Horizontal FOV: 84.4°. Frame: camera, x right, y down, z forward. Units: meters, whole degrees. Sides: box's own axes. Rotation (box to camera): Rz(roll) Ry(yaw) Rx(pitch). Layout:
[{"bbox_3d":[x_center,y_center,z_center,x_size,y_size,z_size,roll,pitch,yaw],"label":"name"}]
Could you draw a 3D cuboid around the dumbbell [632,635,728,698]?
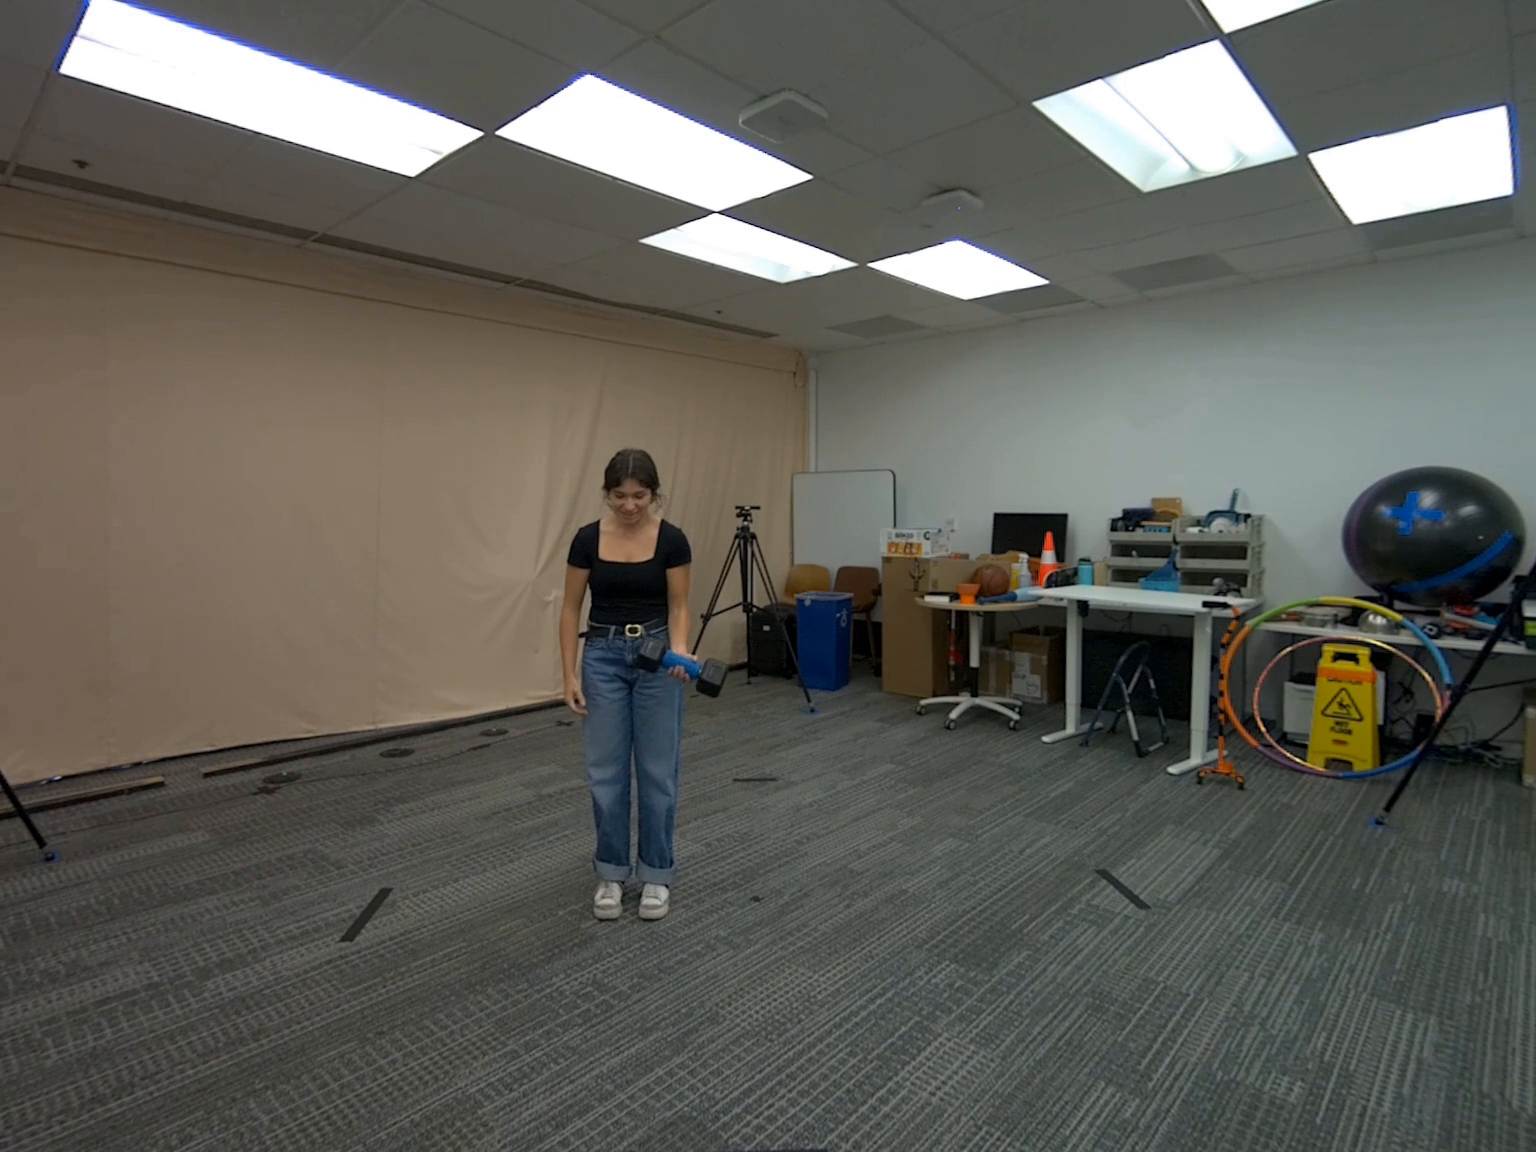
[{"bbox_3d":[-0.279,0.273,2.712,0.295,0.108,0.122,20,4,3],"label":"dumbbell"}]
